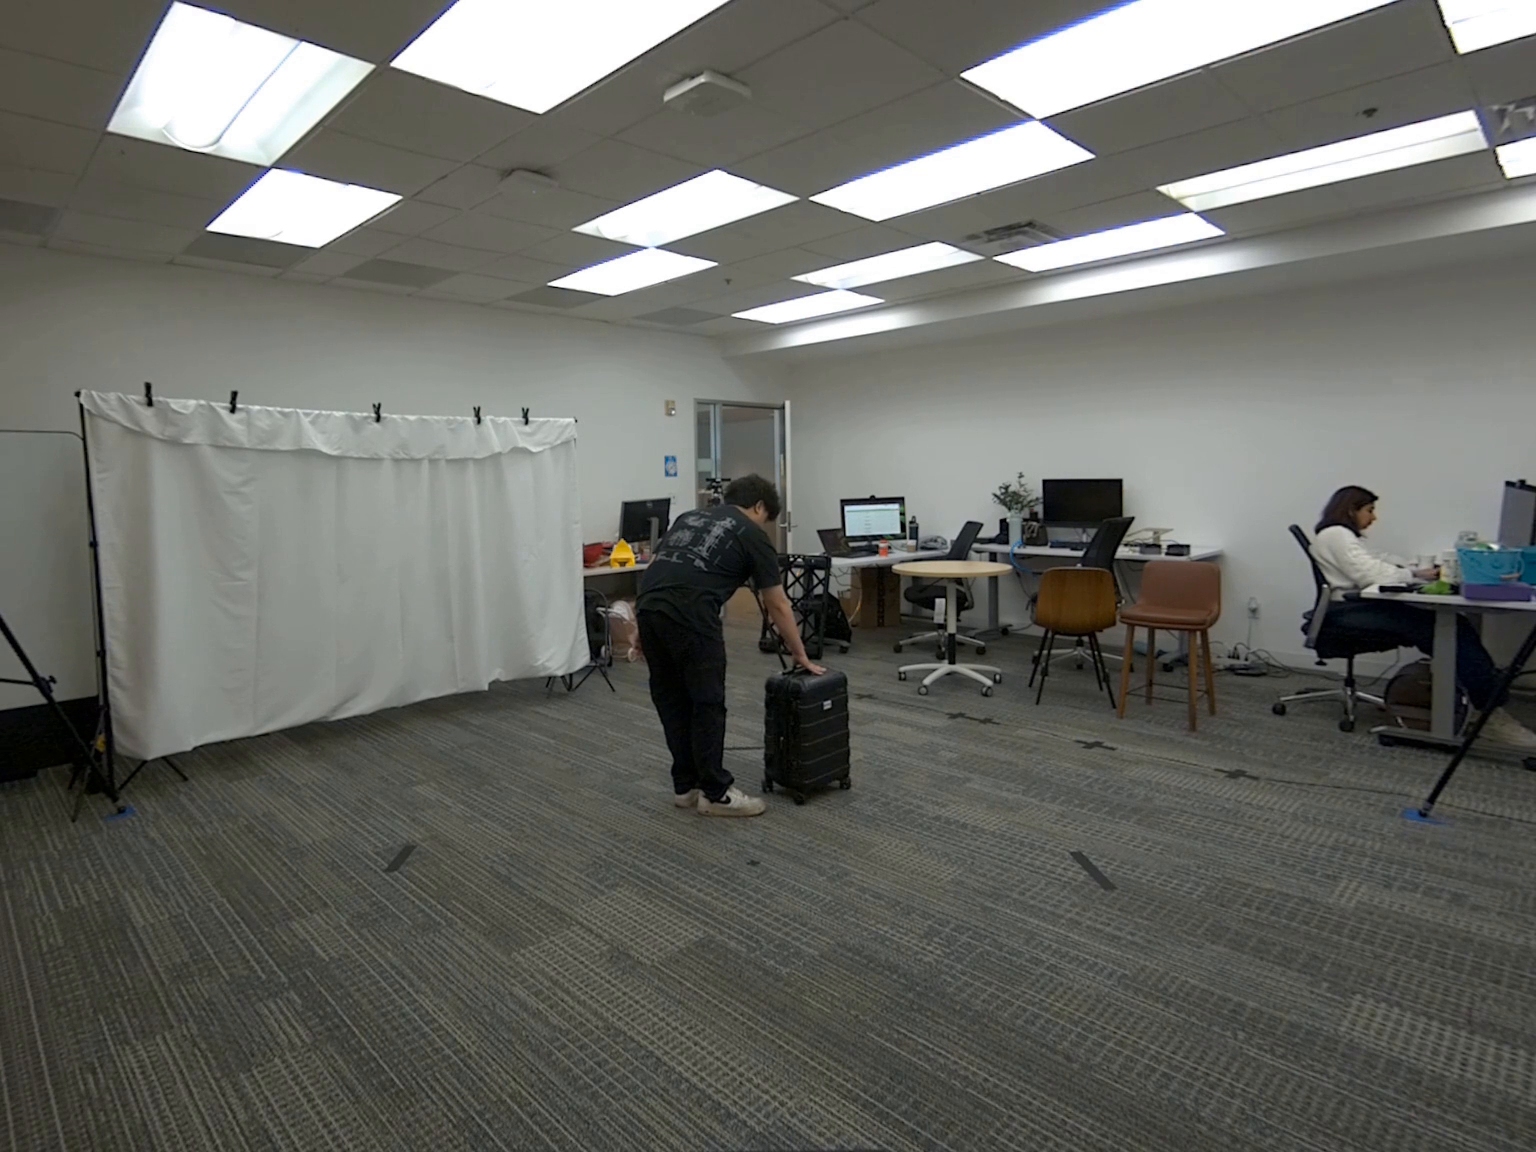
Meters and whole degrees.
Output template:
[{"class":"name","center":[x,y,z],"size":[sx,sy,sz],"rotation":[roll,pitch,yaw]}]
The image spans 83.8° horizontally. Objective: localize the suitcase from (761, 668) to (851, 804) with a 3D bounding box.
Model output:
[{"class":"suitcase","center":[0.184,0.685,3.822],"size":[0.256,0.547,0.365],"rotation":[4,6,40]}]
